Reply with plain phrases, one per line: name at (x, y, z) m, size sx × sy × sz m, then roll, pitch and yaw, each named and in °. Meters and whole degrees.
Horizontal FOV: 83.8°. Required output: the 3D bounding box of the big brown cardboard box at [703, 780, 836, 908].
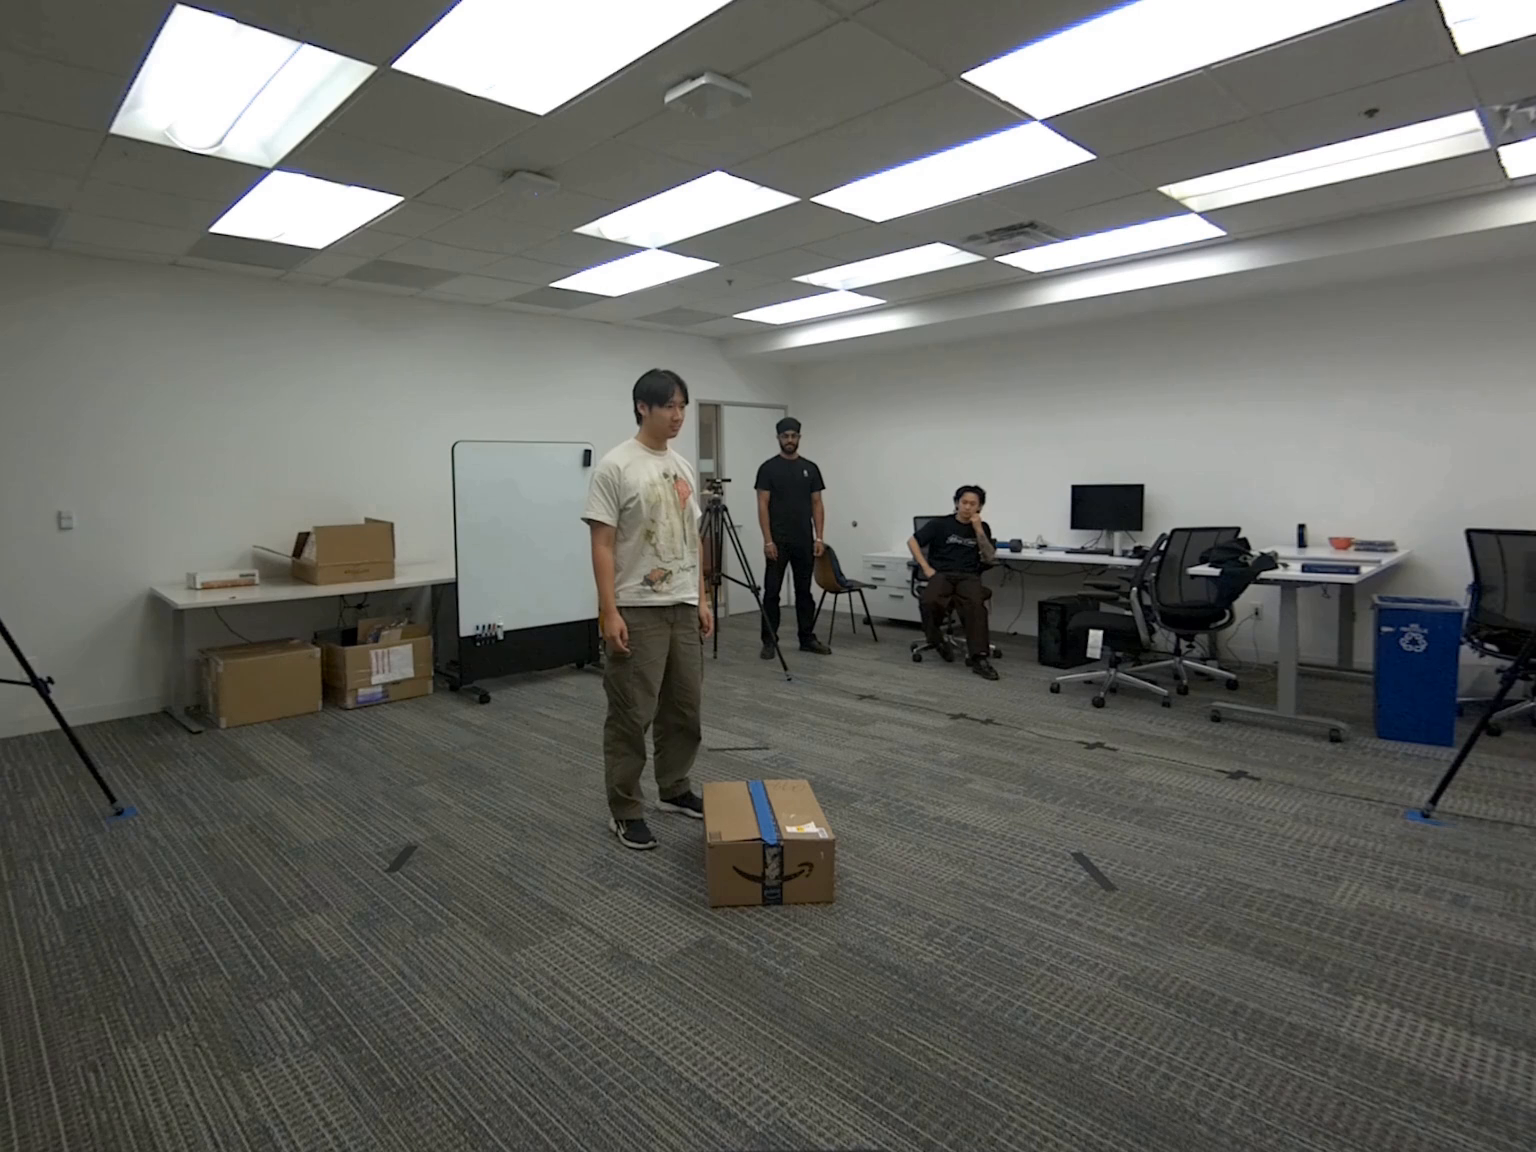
big brown cardboard box at (-0.016, 0.936, 3.058) m, size 0.416 × 0.232 × 0.593 m, roll -1°, pitch 5°, yaw -5°
